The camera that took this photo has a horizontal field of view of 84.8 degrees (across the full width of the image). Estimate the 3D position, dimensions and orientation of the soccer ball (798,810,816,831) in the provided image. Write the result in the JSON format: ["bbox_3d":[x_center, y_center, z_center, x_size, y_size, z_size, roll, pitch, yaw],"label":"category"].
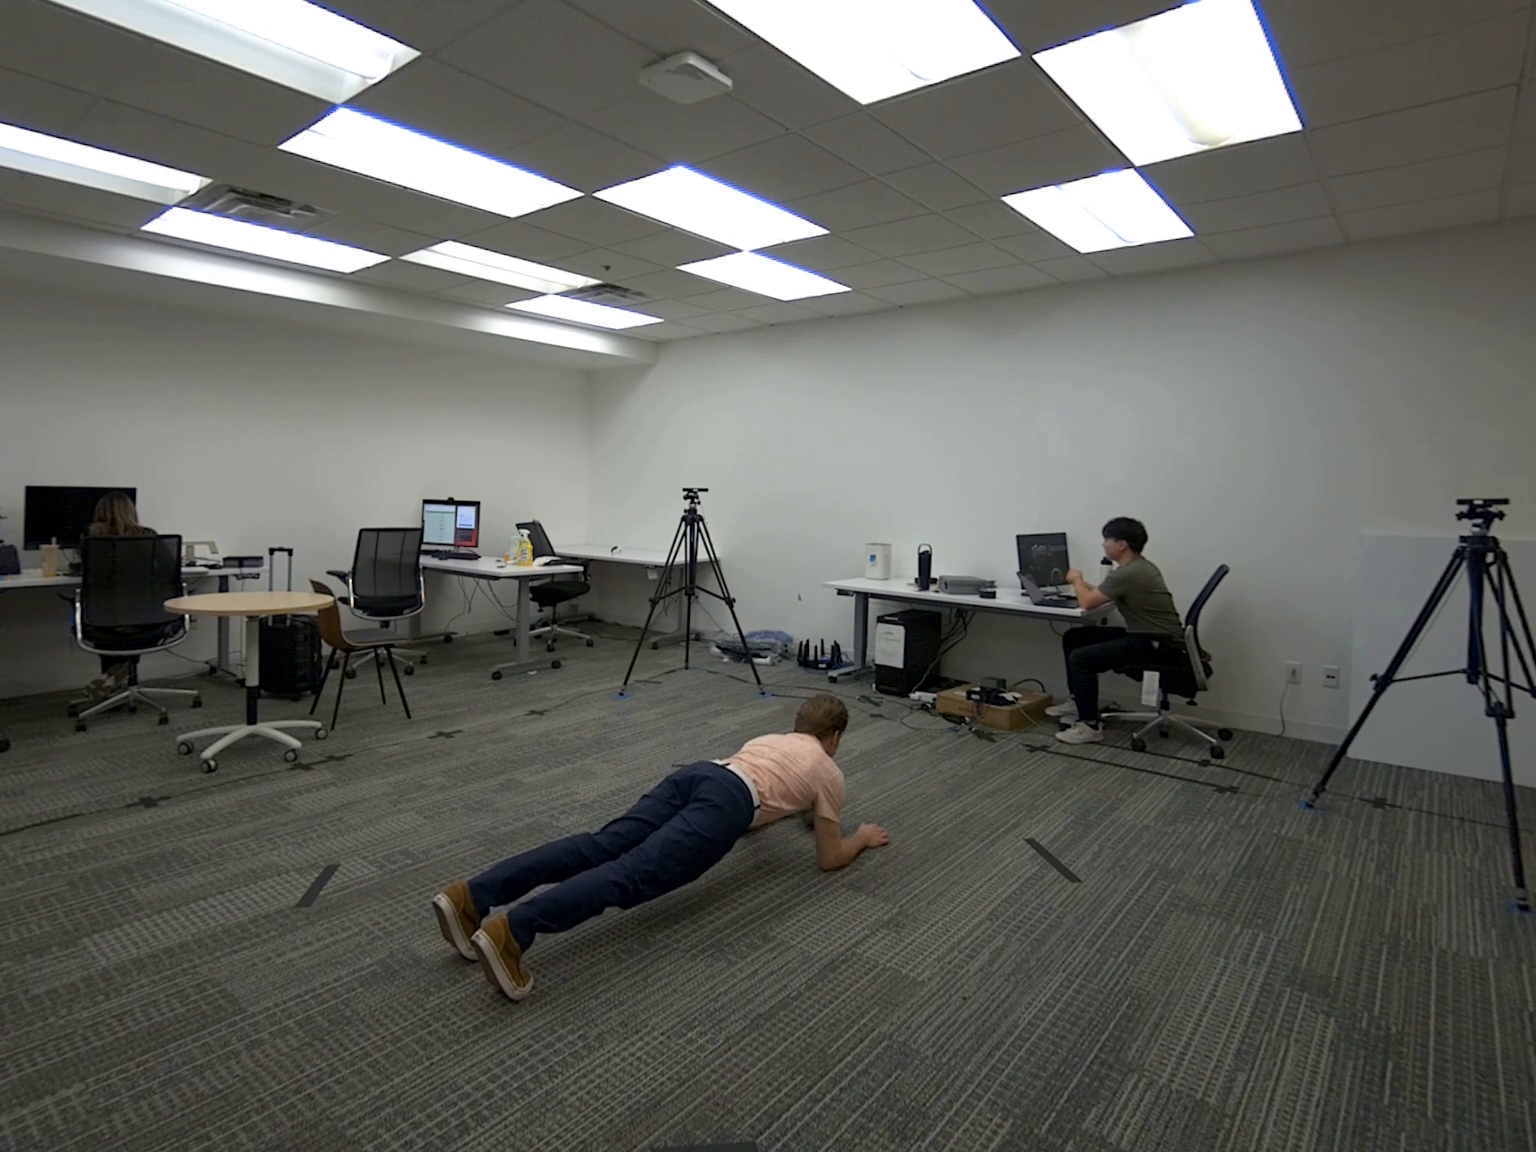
[{"bbox_3d":[0.190,0.937,3.543,0.187,0.187,0.188,1,4,-2],"label":"soccer ball"}]
